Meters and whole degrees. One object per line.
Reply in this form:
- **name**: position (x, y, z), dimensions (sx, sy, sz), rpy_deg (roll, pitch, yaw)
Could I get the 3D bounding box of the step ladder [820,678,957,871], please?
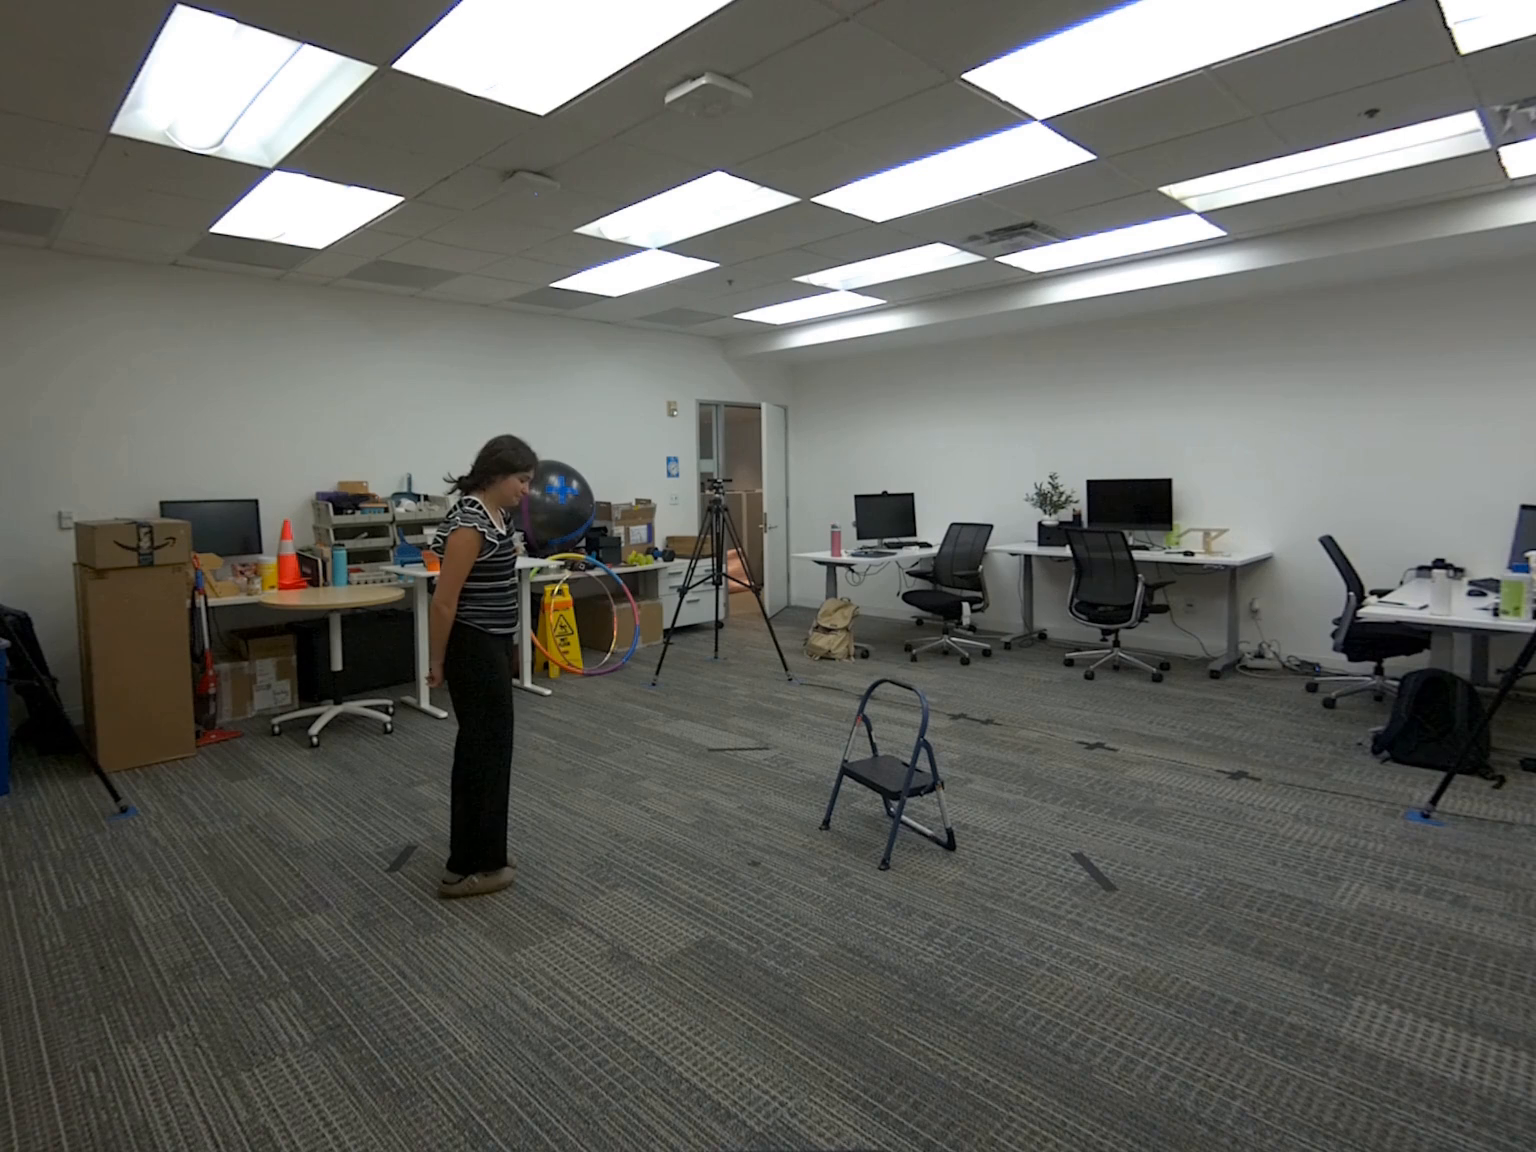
- **step ladder**: position (0.453, 0.714, 3.280), dimensions (0.341, 0.604, 0.442), rpy_deg (-2, 5, -27)
